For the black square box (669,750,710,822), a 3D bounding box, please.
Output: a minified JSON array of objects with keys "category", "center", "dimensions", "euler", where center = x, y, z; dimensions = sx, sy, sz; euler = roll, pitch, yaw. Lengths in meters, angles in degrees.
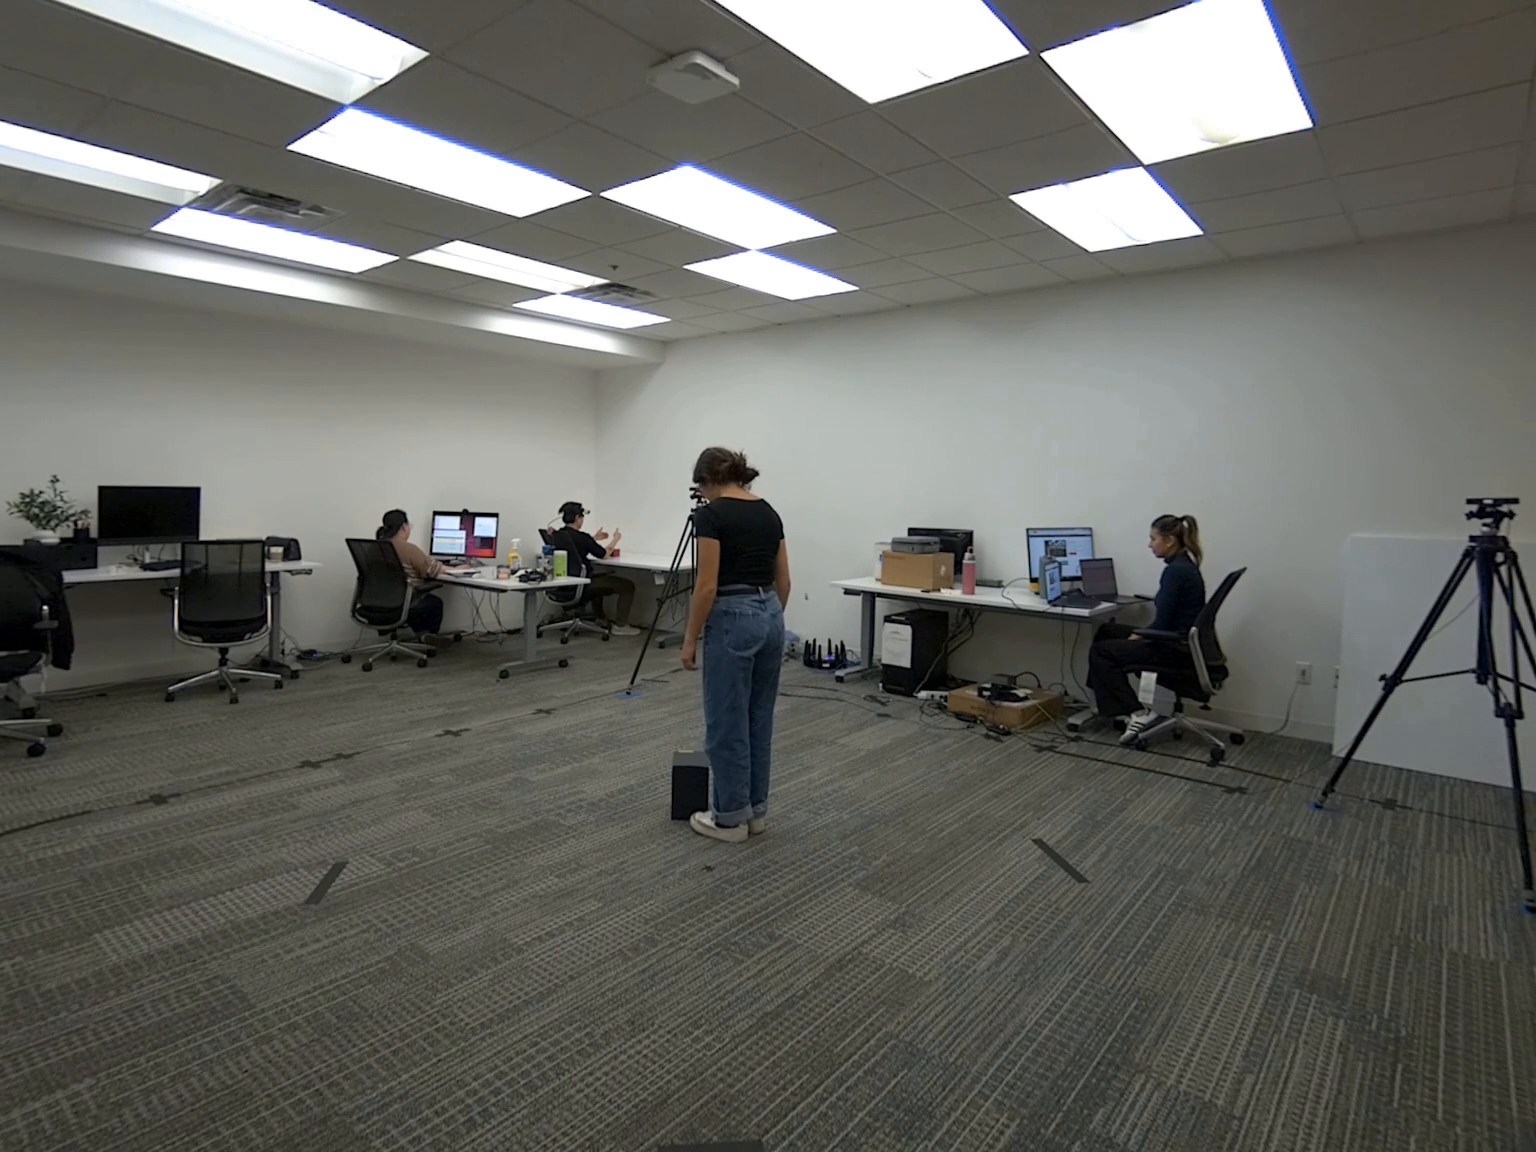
[{"category":"black square box","center":[-0.345,0.889,3.663],"dimensions":[0.155,0.227,0.218],"euler":[1,3,-4]}]
